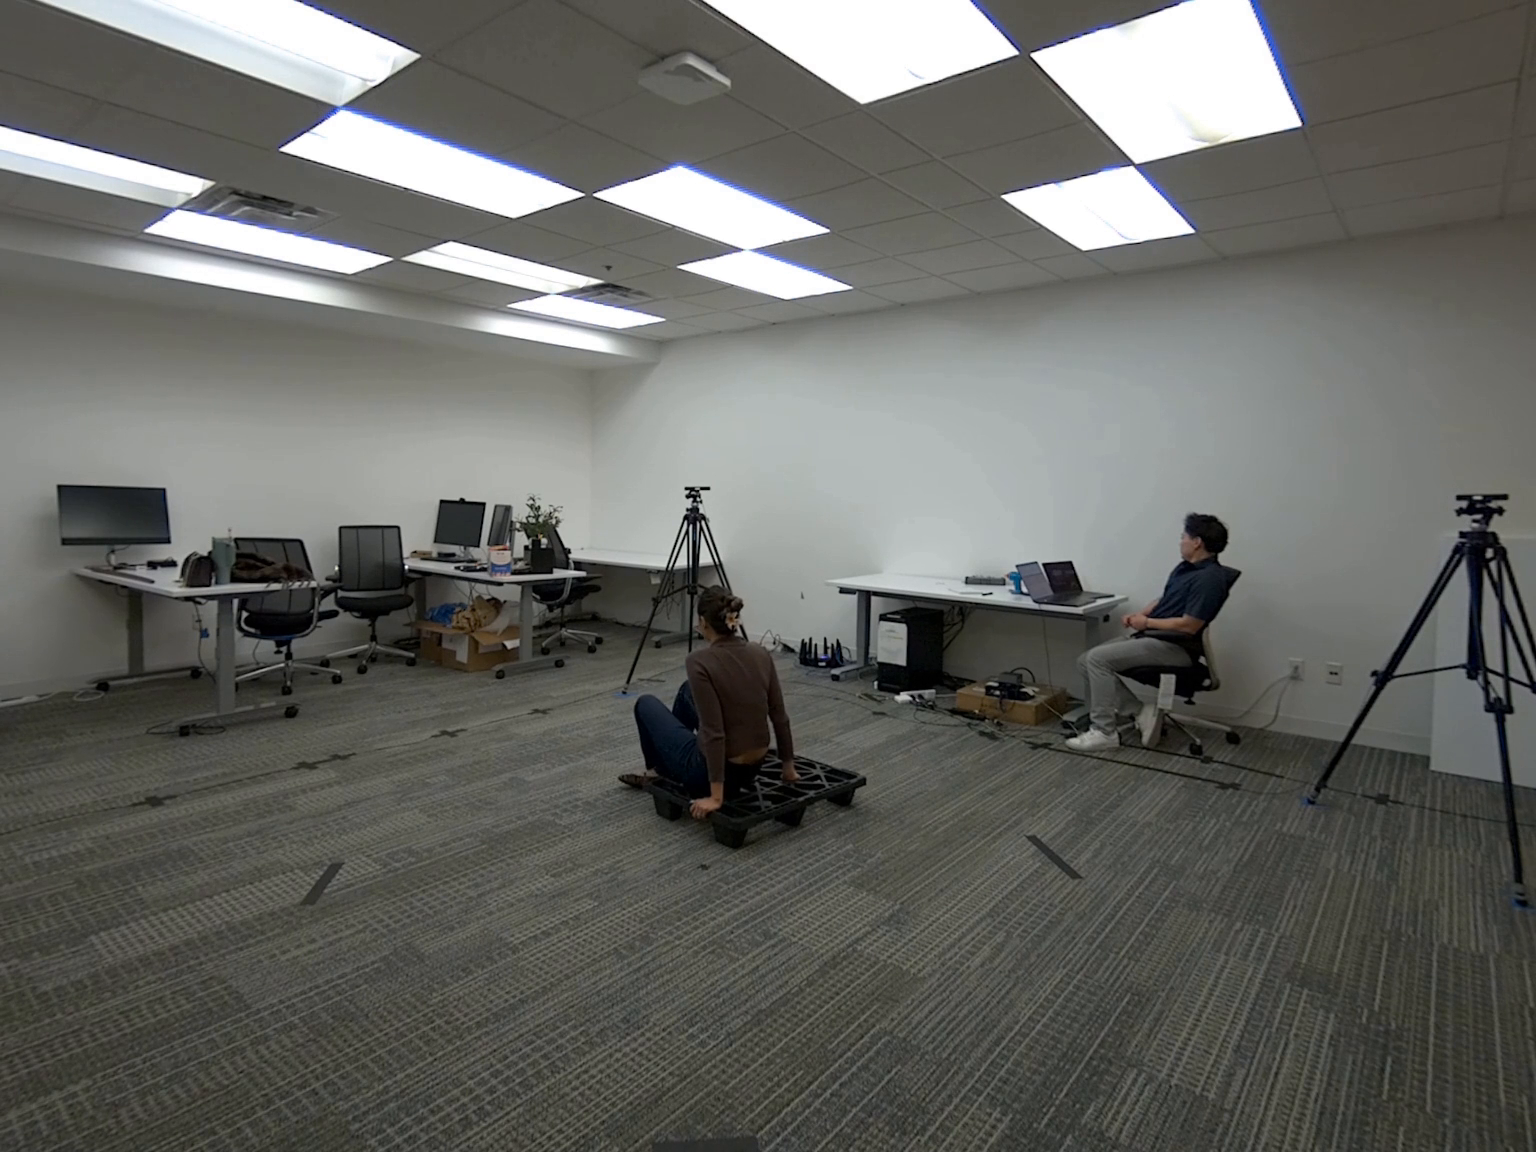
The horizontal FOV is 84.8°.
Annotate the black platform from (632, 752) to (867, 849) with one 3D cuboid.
[{"bbox_3d":[-0.053,0.947,3.688,0.782,0.143,0.626,-5,8,-43],"label":"black platform"}]
